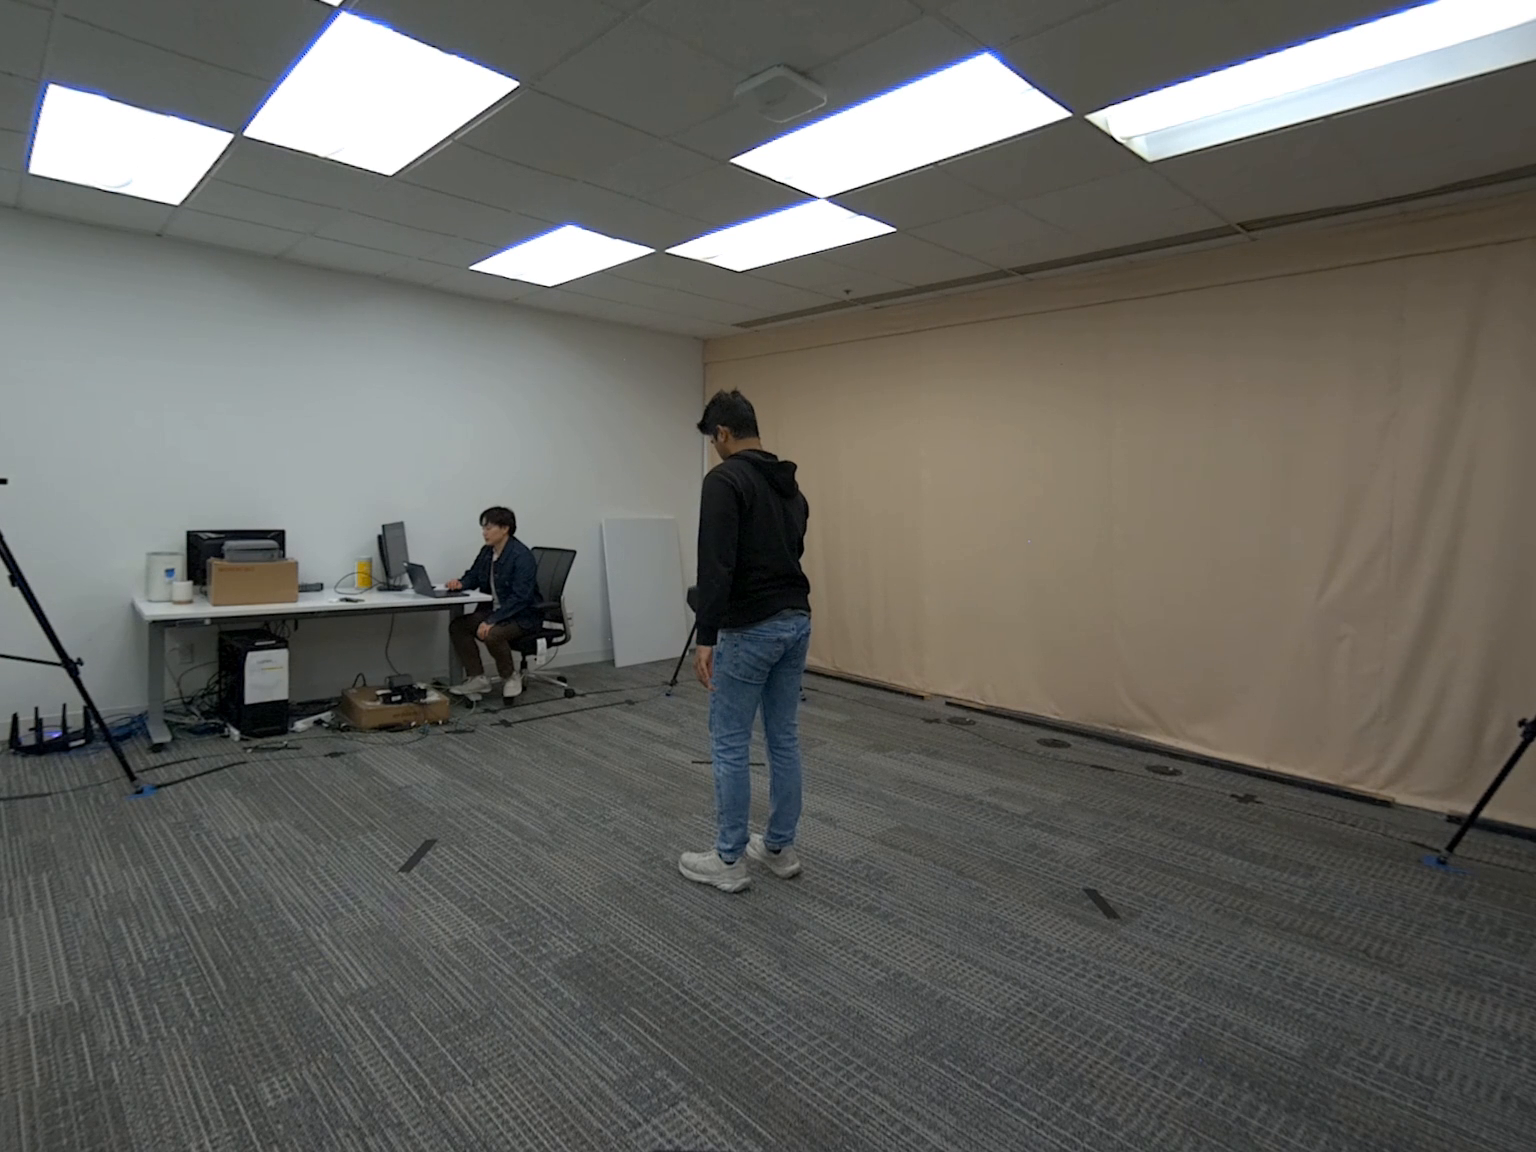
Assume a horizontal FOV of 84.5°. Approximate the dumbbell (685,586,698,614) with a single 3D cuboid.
[{"bbox_3d":[-0.189,0.057,3.420,0.289,0.108,0.125,-18,6,-43],"label":"dumbbell"}]
